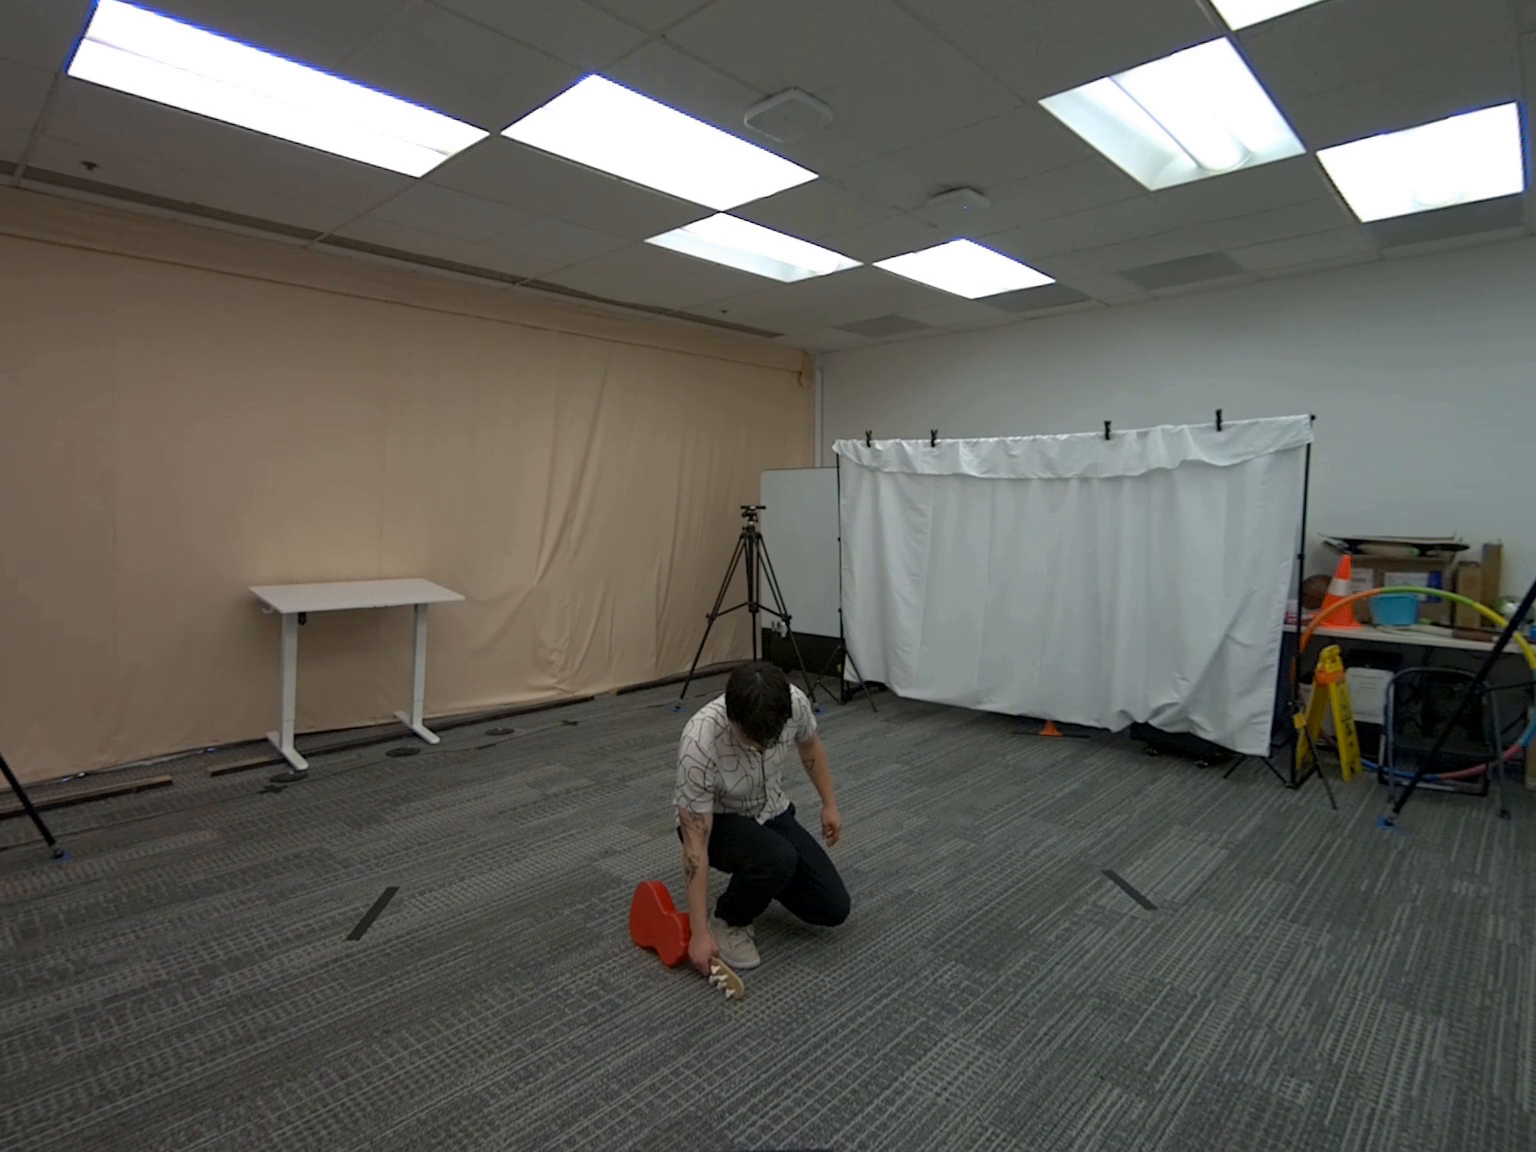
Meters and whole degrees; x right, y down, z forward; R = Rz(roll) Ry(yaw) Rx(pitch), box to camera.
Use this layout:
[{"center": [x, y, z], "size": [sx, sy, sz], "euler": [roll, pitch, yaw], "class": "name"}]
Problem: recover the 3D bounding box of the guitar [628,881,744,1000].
[{"center": [-0.256, 1.092, 2.540], "size": [0.068, 0.193, 0.514], "euler": [9, -1, -39], "class": "guitar"}]
